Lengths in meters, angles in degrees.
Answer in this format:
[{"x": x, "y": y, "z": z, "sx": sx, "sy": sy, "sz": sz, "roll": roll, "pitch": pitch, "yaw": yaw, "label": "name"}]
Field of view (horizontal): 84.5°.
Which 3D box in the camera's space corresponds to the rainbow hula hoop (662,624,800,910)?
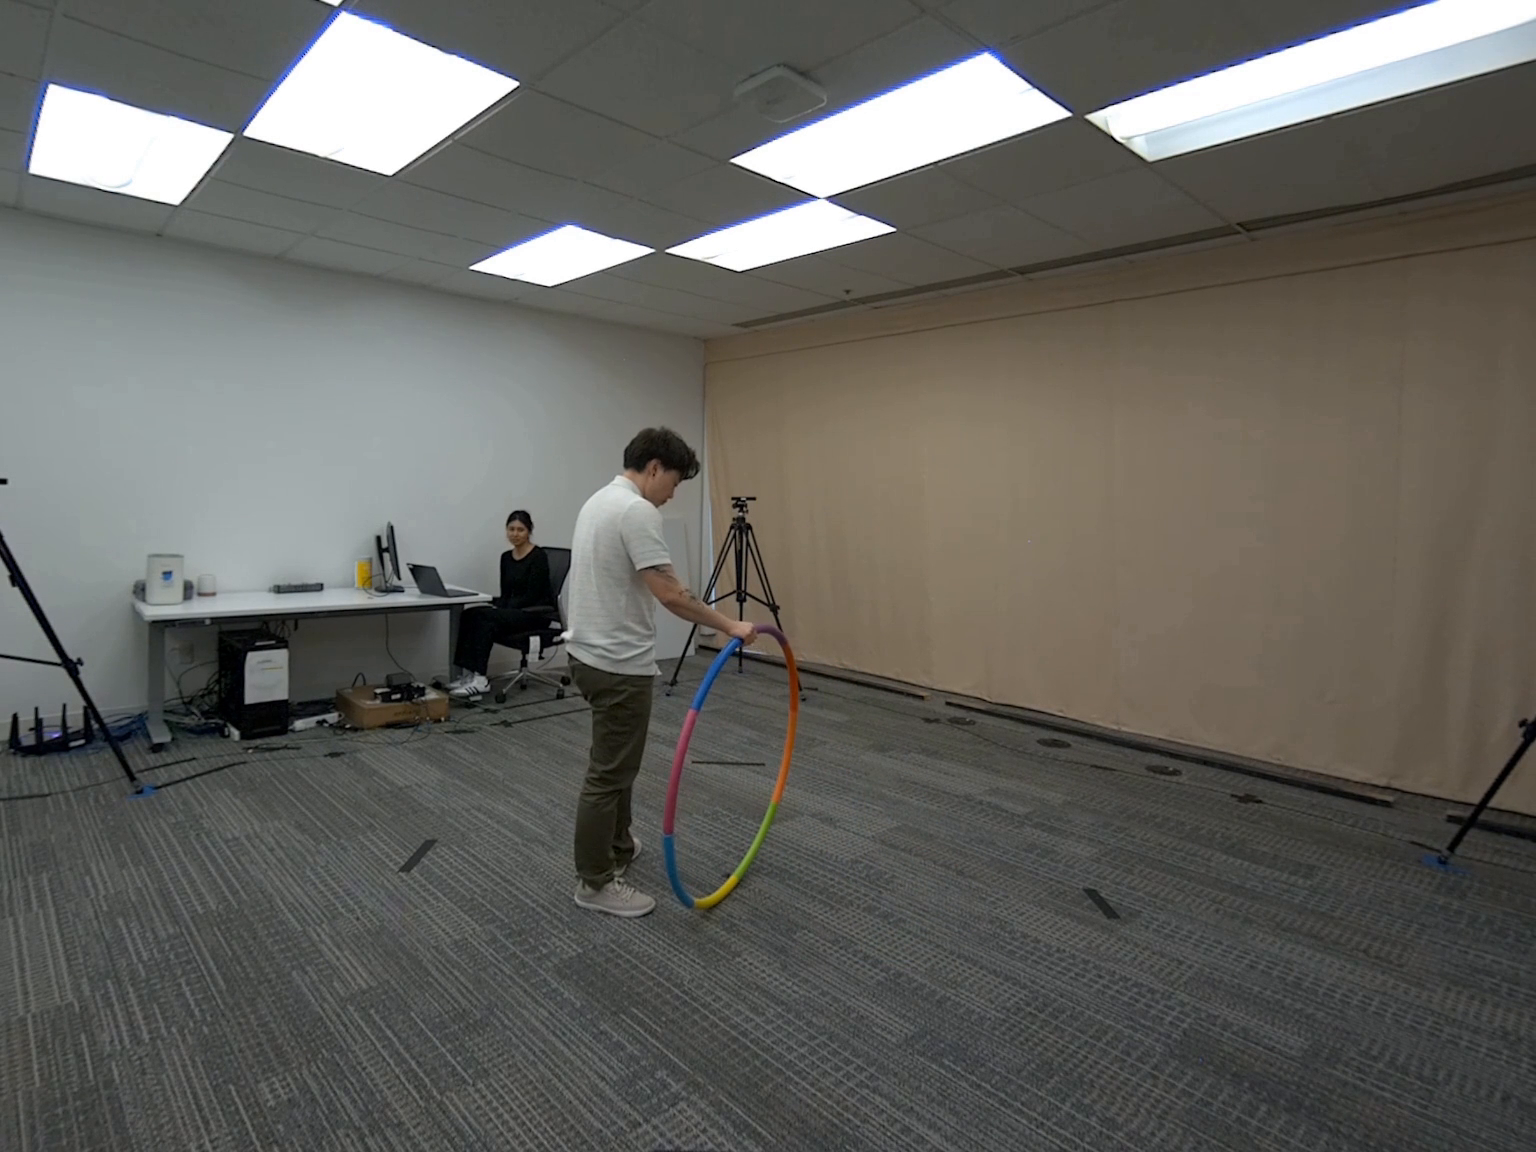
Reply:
[{"x": -0.104, "y": 0.647, "z": 2.911, "sx": 0.036, "sy": 0.974, "sz": 0.963, "roll": 10, "pitch": 7, "yaw": 22, "label": "rainbow hula hoop"}]
